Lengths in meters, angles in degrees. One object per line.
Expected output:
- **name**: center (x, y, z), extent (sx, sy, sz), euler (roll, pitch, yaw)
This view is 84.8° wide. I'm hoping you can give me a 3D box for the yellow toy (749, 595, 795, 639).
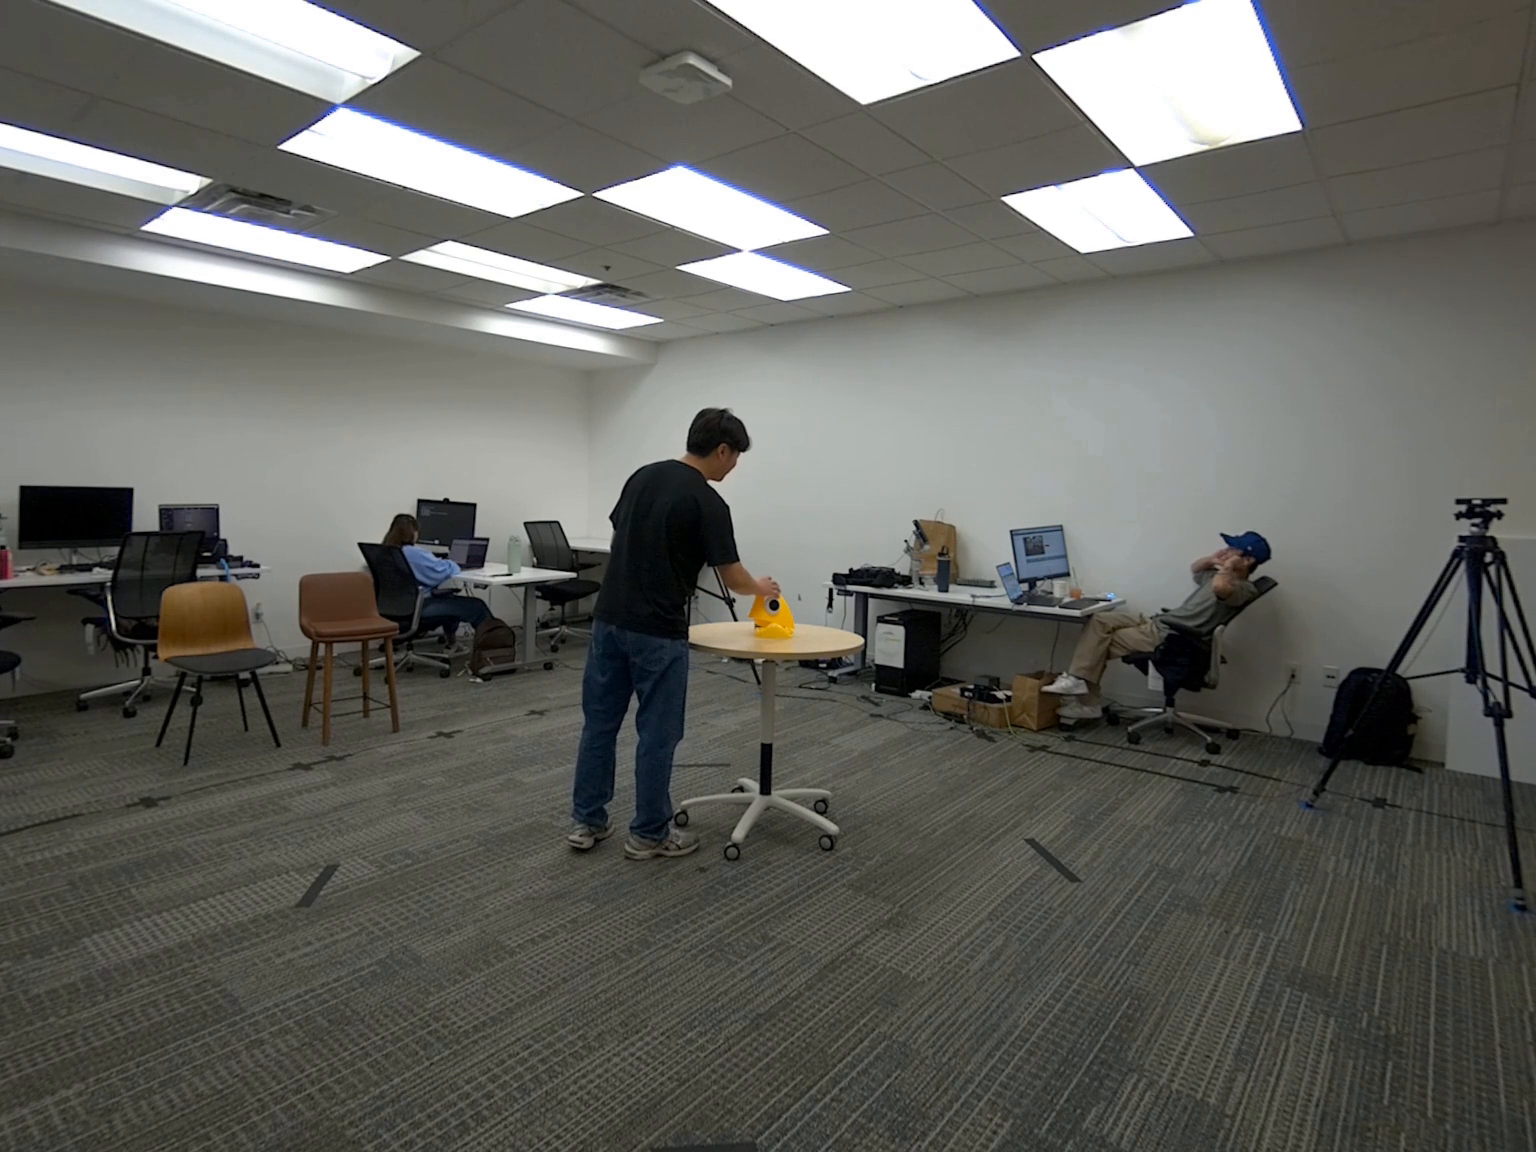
- **yellow toy**: center (0.010, 0.124, 3.515), extent (0.195, 0.230, 0.204), euler (3, 5, 7)
